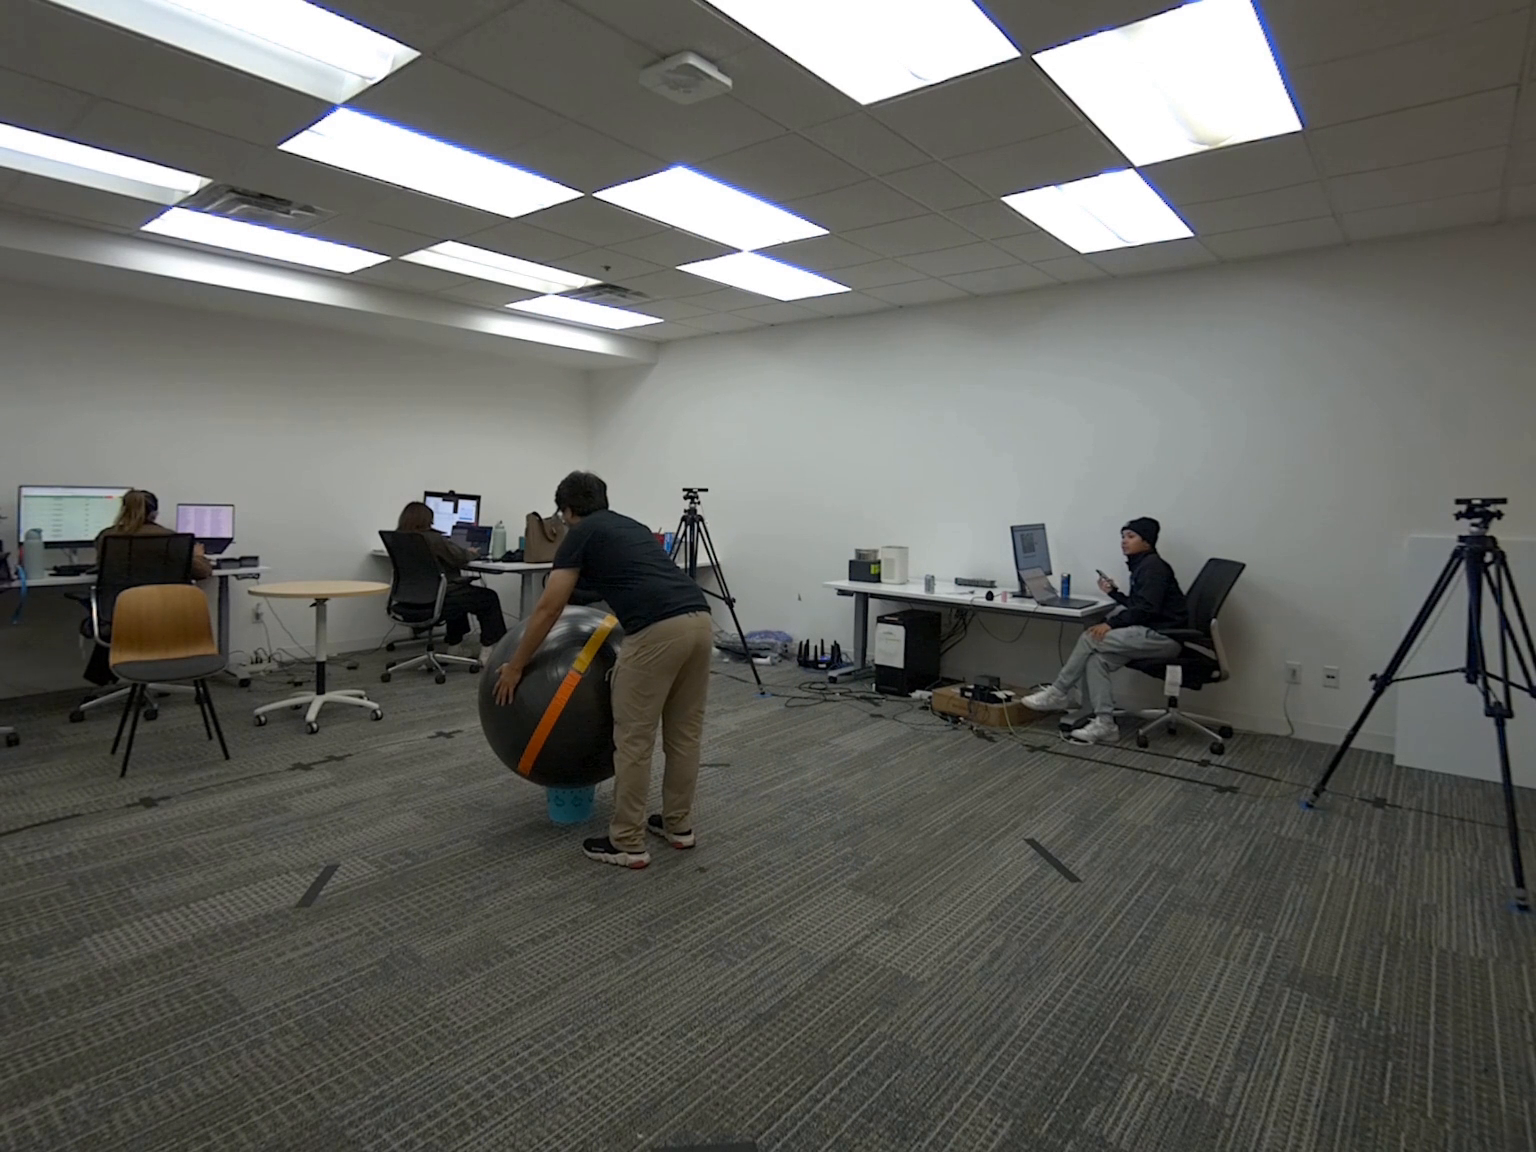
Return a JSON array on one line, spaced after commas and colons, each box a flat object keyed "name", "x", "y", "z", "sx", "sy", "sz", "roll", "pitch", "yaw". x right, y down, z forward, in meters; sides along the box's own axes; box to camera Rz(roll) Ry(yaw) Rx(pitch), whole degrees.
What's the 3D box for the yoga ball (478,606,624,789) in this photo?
[{"name": "yoga ball", "x": -0.849, "y": 0.505, "z": 3.594, "sx": 0.757, "sy": 0.756, "sz": 0.762, "roll": 1, "pitch": 4, "yaw": -2}]
